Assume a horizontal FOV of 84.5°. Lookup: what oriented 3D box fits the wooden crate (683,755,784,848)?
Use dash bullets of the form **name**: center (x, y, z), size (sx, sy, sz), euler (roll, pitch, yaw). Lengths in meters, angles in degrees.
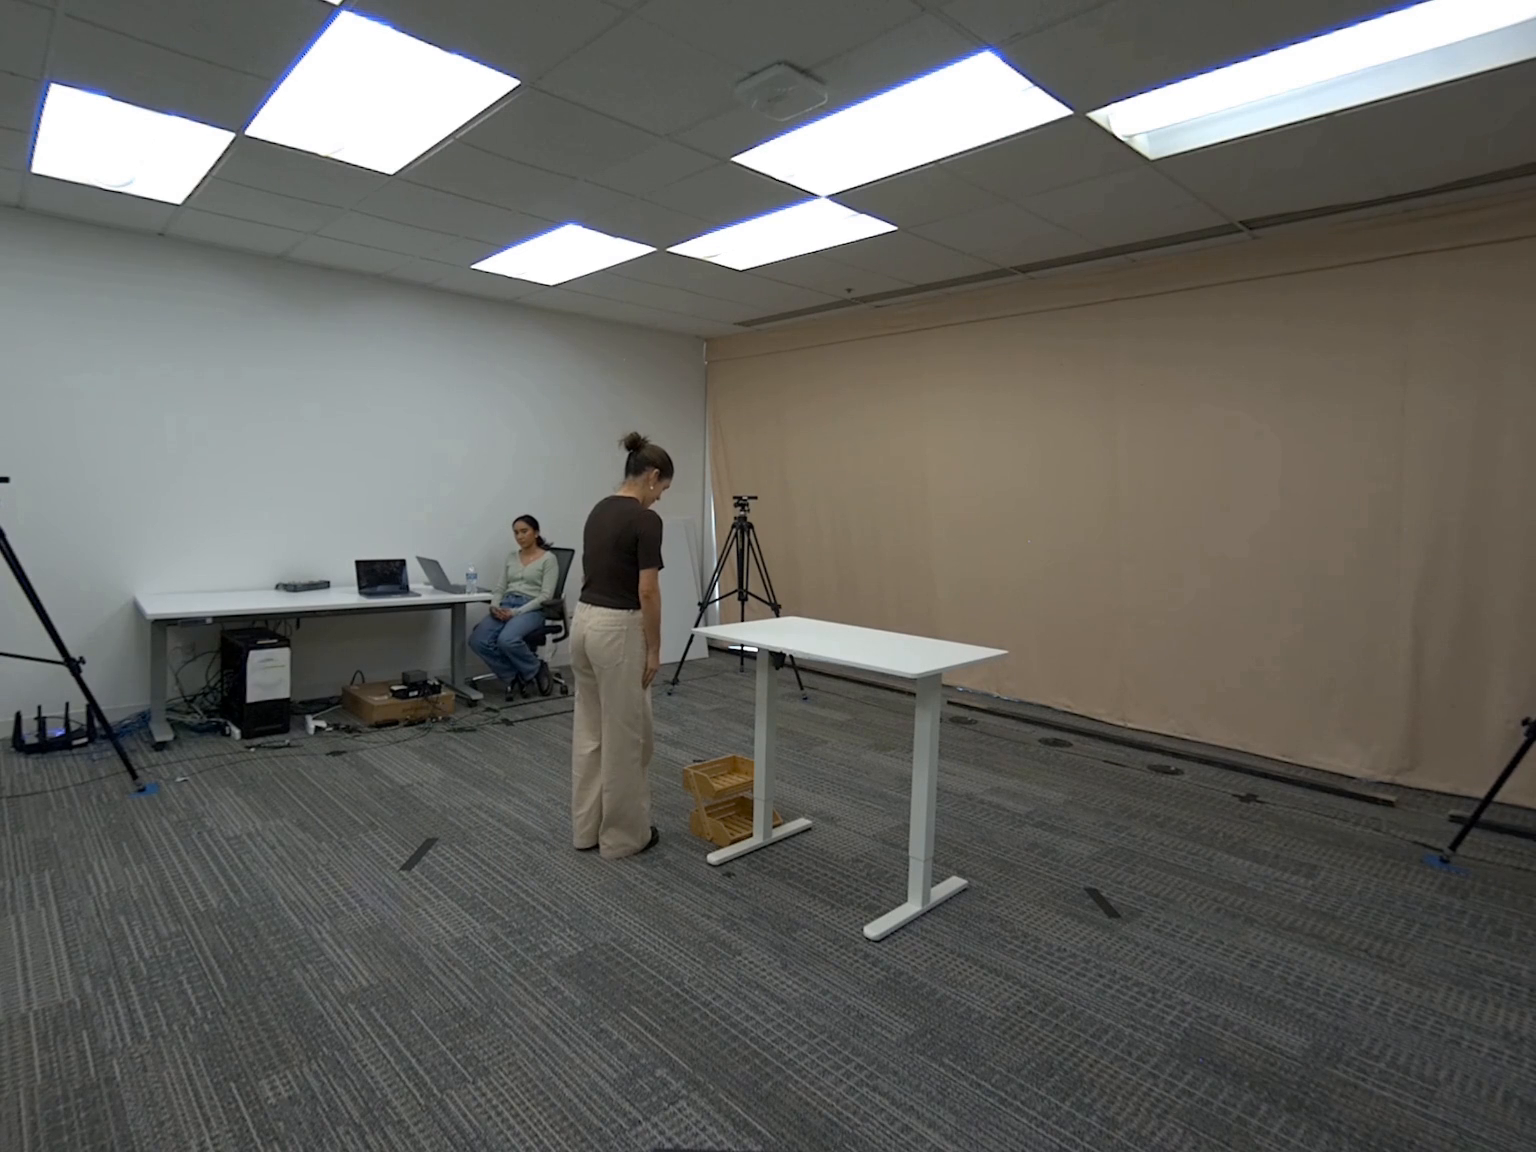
- **wooden crate**: center (-0.153, 0.932, 3.523), size (0.309, 0.273, 0.317), euler (4, 5, 45)
